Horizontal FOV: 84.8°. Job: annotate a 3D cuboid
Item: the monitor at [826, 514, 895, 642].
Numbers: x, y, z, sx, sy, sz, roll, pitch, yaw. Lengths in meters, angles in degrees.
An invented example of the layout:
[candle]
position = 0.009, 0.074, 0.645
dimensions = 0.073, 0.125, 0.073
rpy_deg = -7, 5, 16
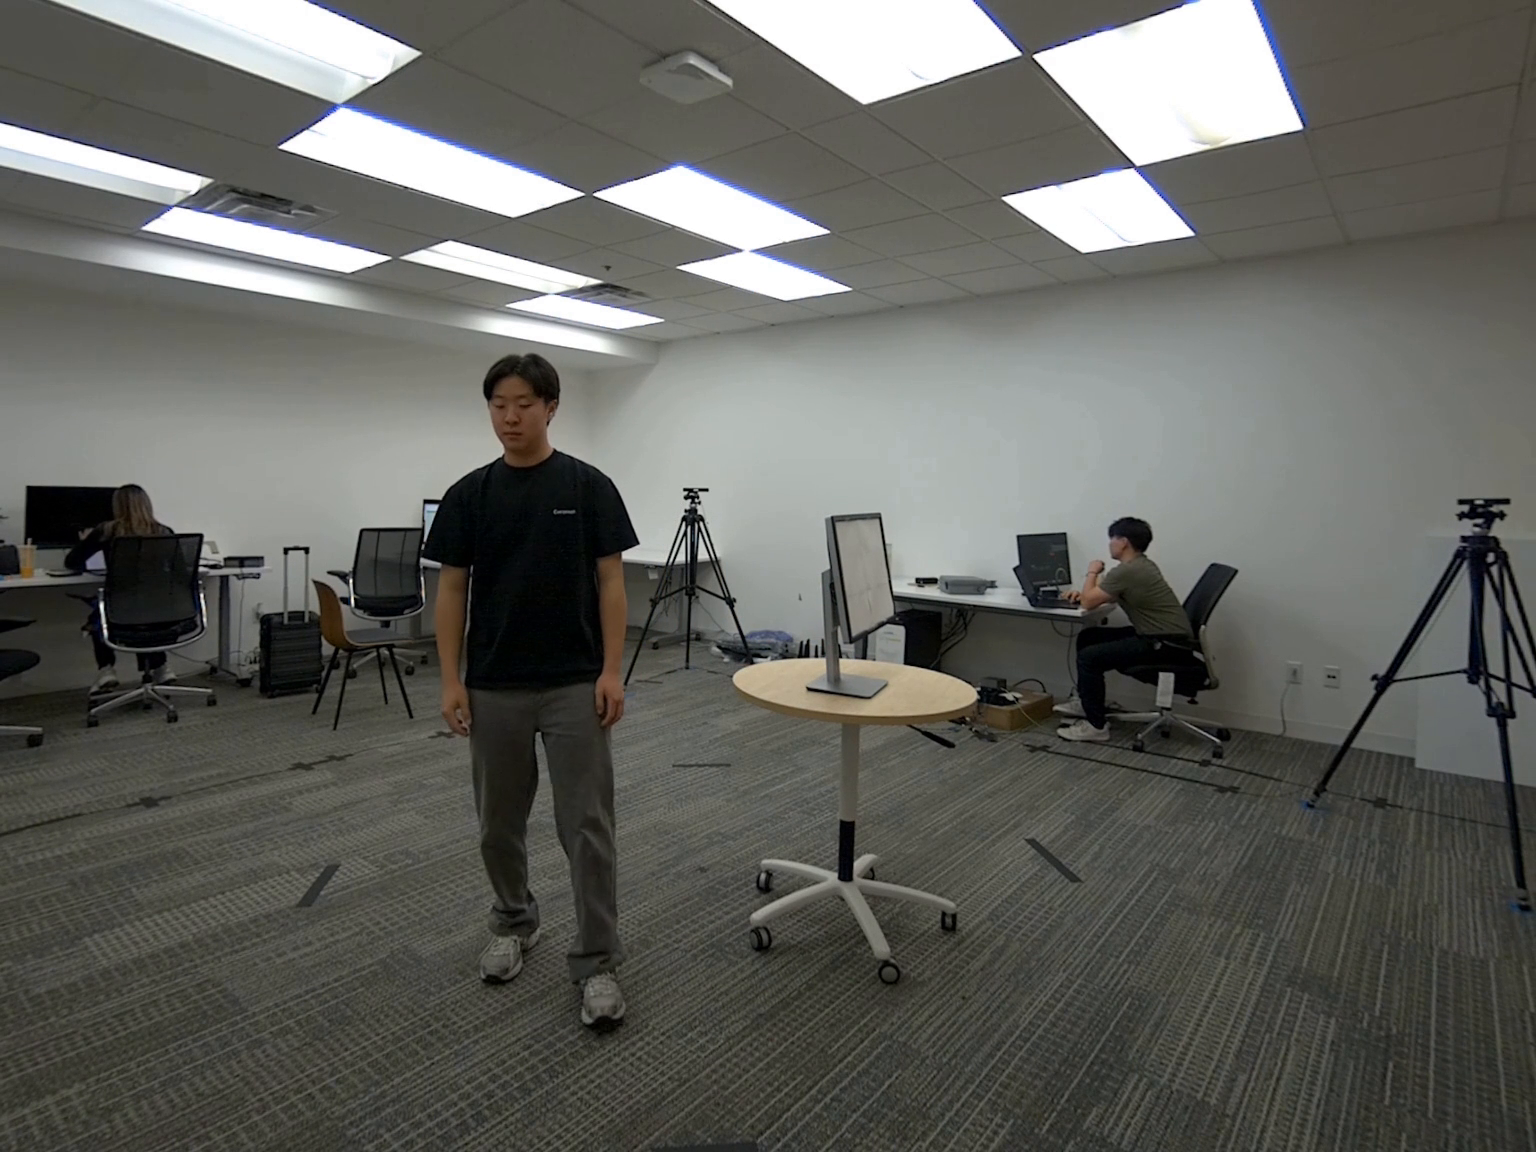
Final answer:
[monitor]
position = 0.258, 0.088, 2.644
dimensions = 0.228, 0.563, 0.549
rpy_deg = 7, 6, 25
